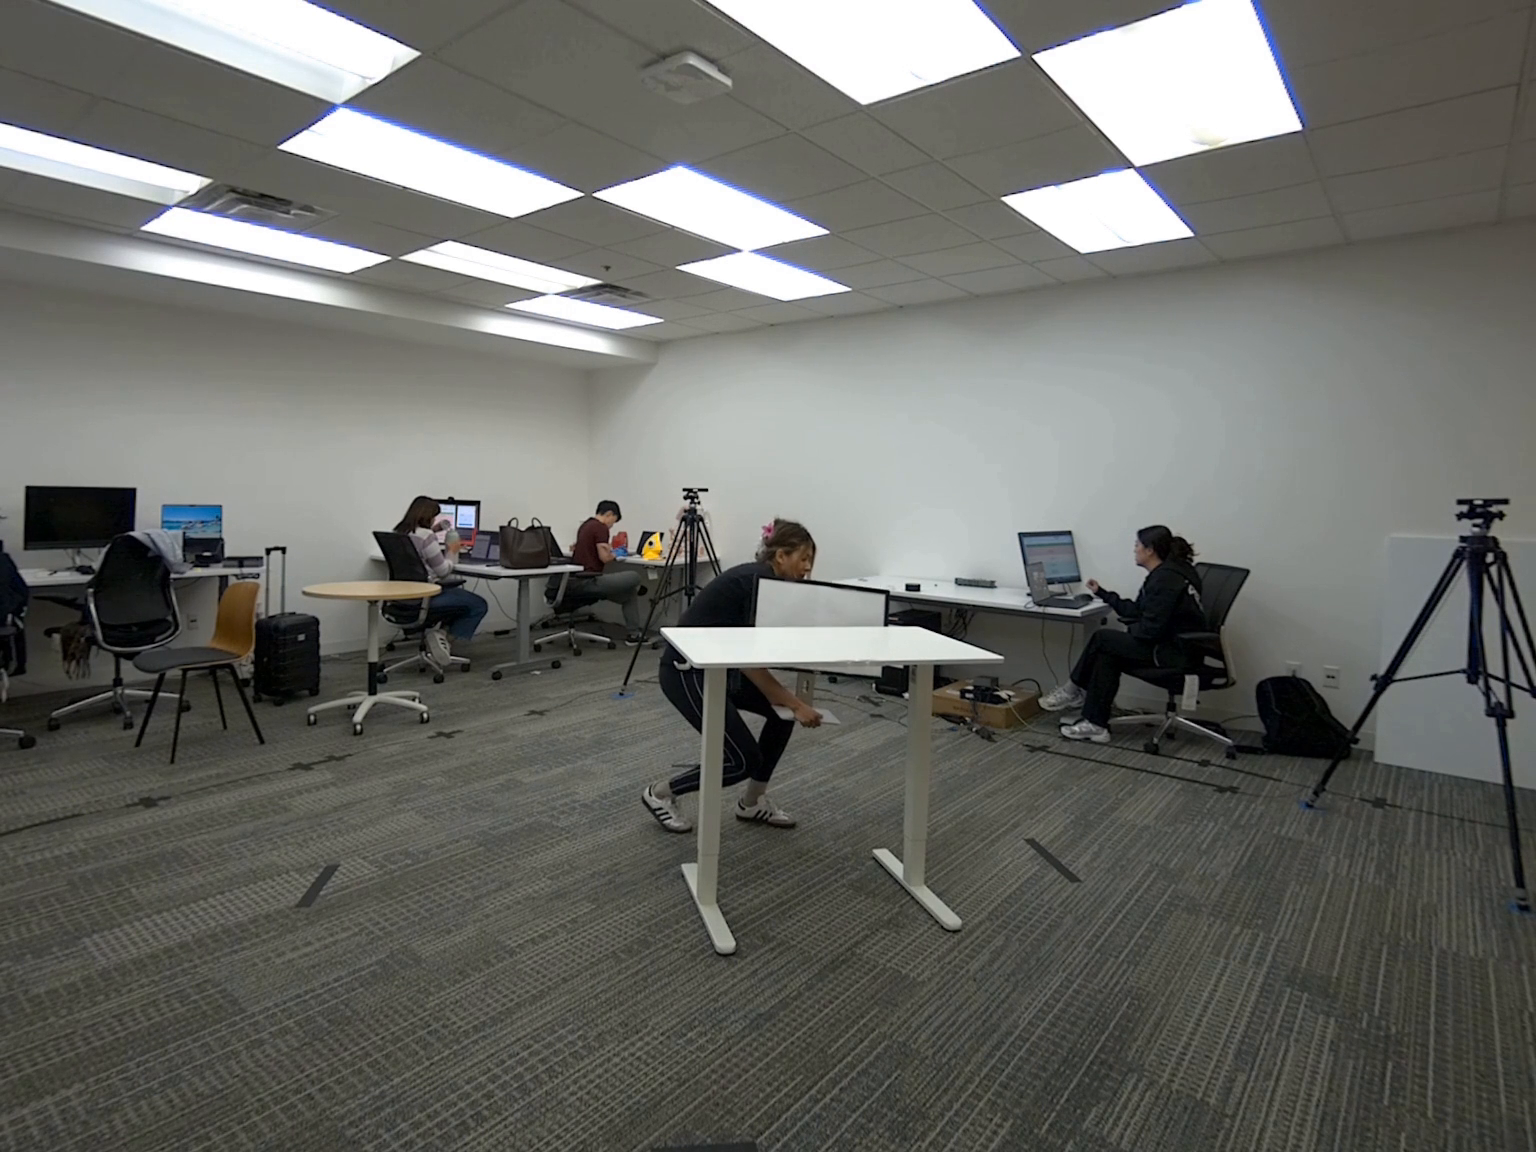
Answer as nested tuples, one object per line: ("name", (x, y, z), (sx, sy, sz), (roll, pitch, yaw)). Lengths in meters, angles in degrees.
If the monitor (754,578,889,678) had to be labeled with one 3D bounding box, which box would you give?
("monitor", (0.195, 0.291, 3.378), (0.532, 0.522, 0.190), (6, 1, -12))
